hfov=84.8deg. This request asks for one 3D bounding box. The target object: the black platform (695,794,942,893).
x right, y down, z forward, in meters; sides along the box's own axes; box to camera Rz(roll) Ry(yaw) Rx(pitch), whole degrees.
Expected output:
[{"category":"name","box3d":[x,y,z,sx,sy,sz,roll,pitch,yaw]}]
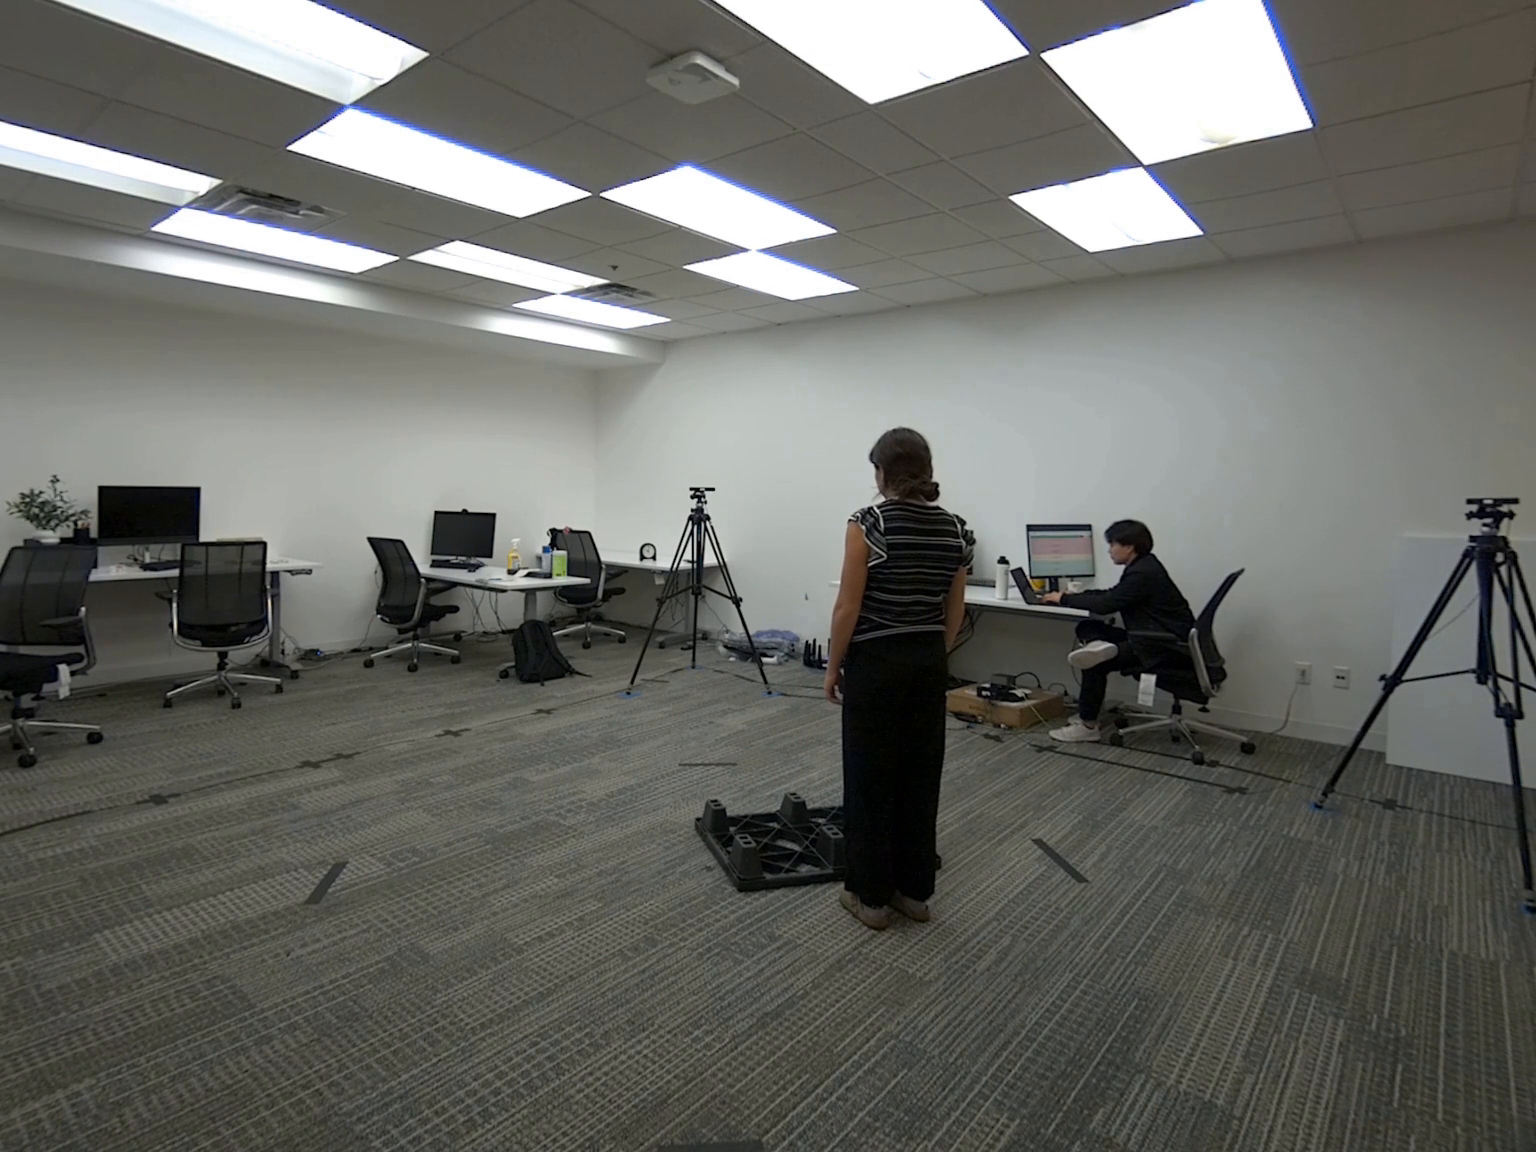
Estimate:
[{"category":"black platform","box3d":[0.163,0.987,3.322,0.790,0.143,0.619,0,6,-19]}]
